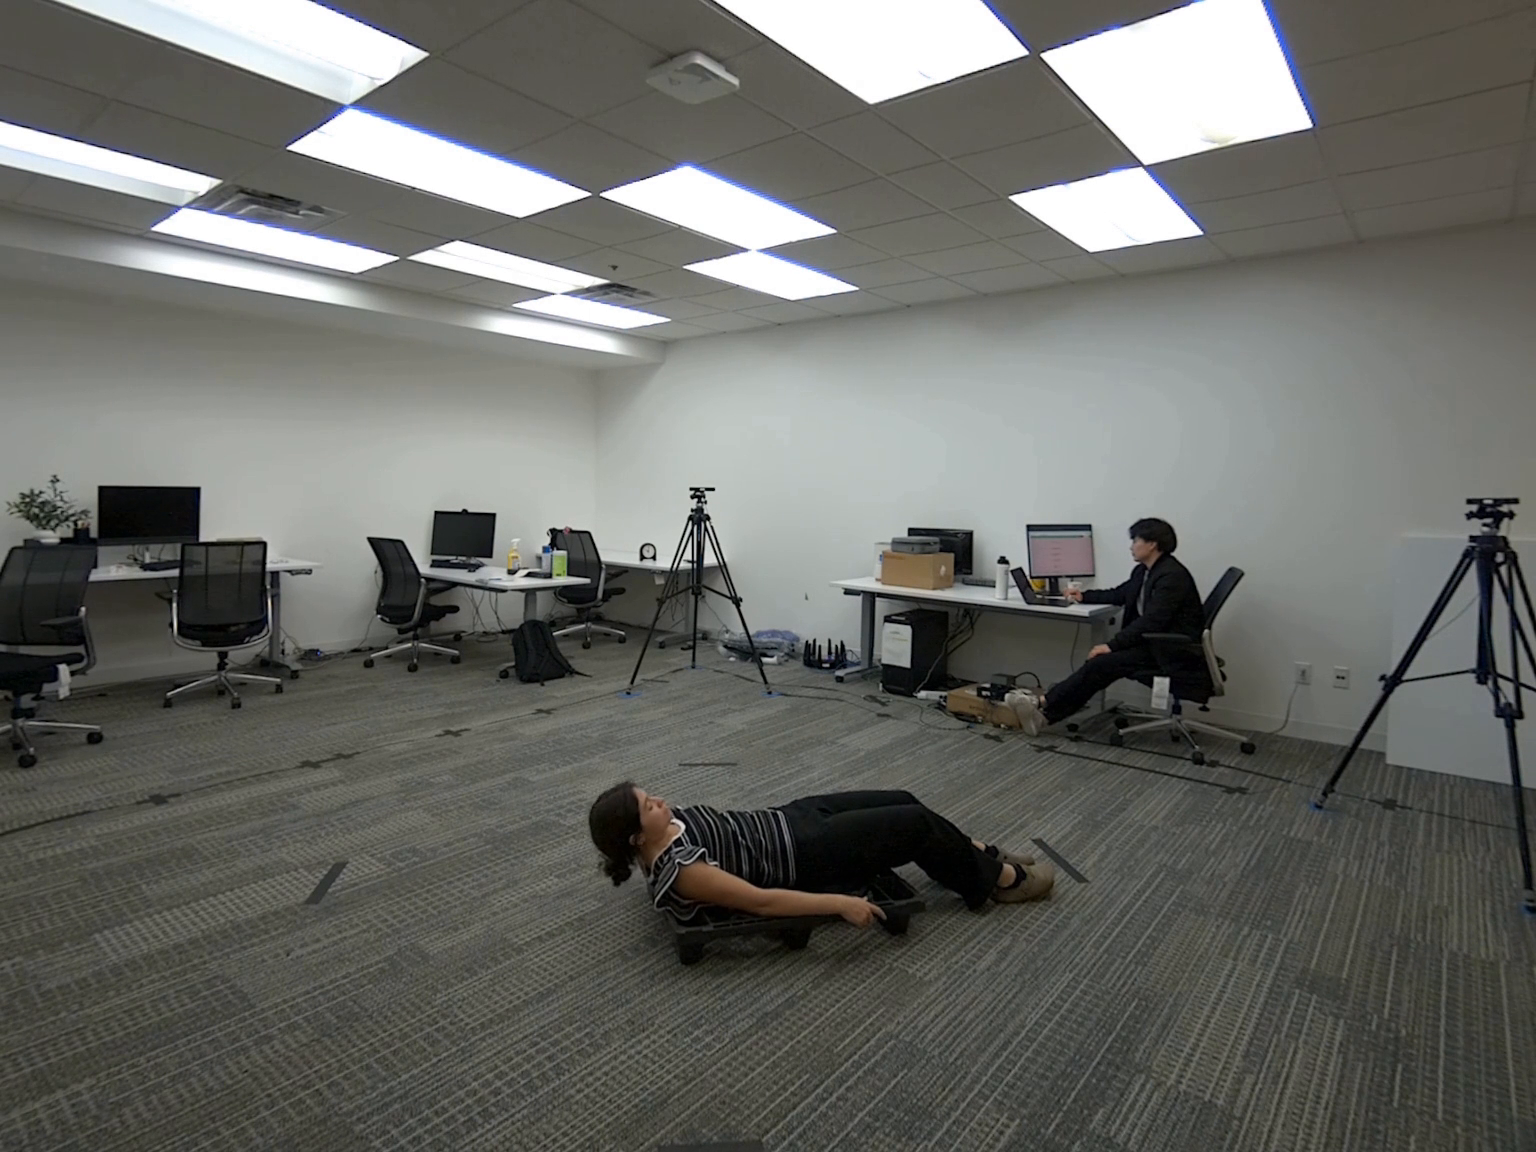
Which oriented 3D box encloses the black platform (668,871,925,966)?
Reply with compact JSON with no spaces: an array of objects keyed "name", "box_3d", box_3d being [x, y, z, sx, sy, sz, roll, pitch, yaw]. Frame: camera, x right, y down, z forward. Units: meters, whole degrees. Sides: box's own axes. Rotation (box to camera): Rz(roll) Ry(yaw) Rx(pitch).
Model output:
[{"name":"black platform","box_3d":[0.021,1.035,2.795,0.791,0.143,0.618,0,5,-18]}]
